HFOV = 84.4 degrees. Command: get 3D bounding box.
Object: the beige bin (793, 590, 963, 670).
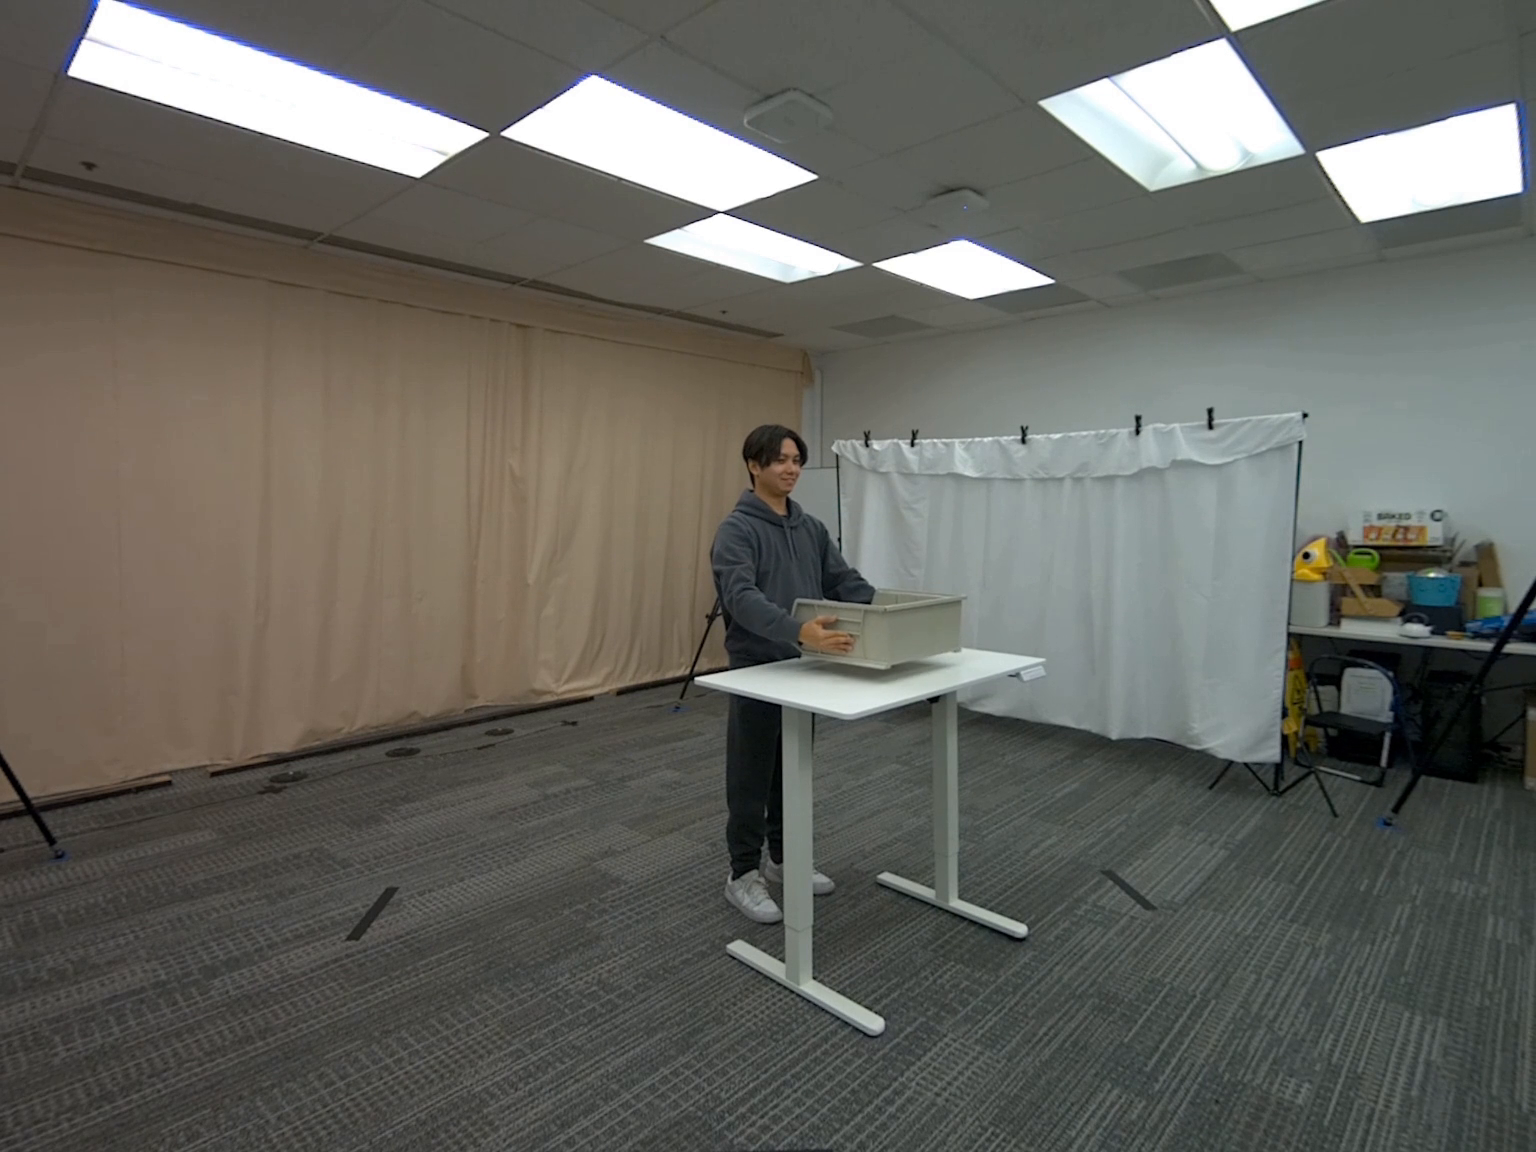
[{"bbox_3d":[0.355,0.156,2.621,0.390,0.188,0.409,5,6,45],"label":"beige bin"}]
